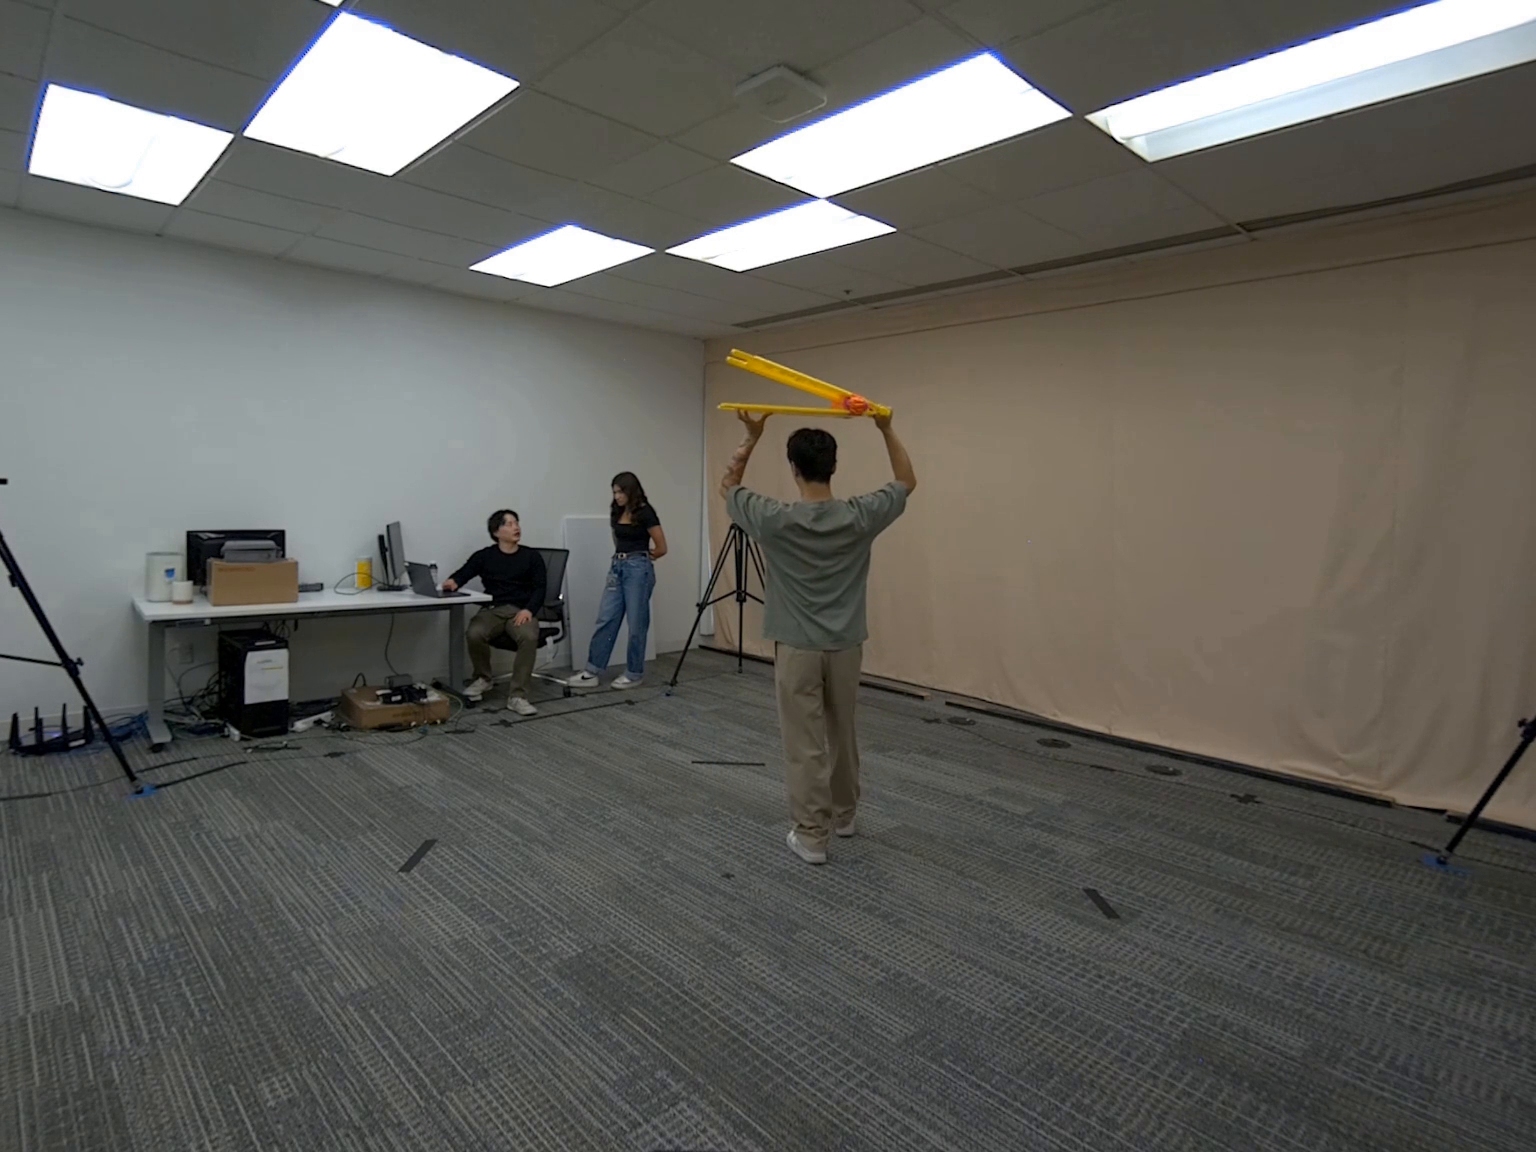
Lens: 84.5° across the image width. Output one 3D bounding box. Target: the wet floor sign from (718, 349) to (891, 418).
[{"bbox_3d":[0.144,-0.701,3.299,0.642,0.289,0.285,9,5,-8],"label":"wet floor sign"}]
